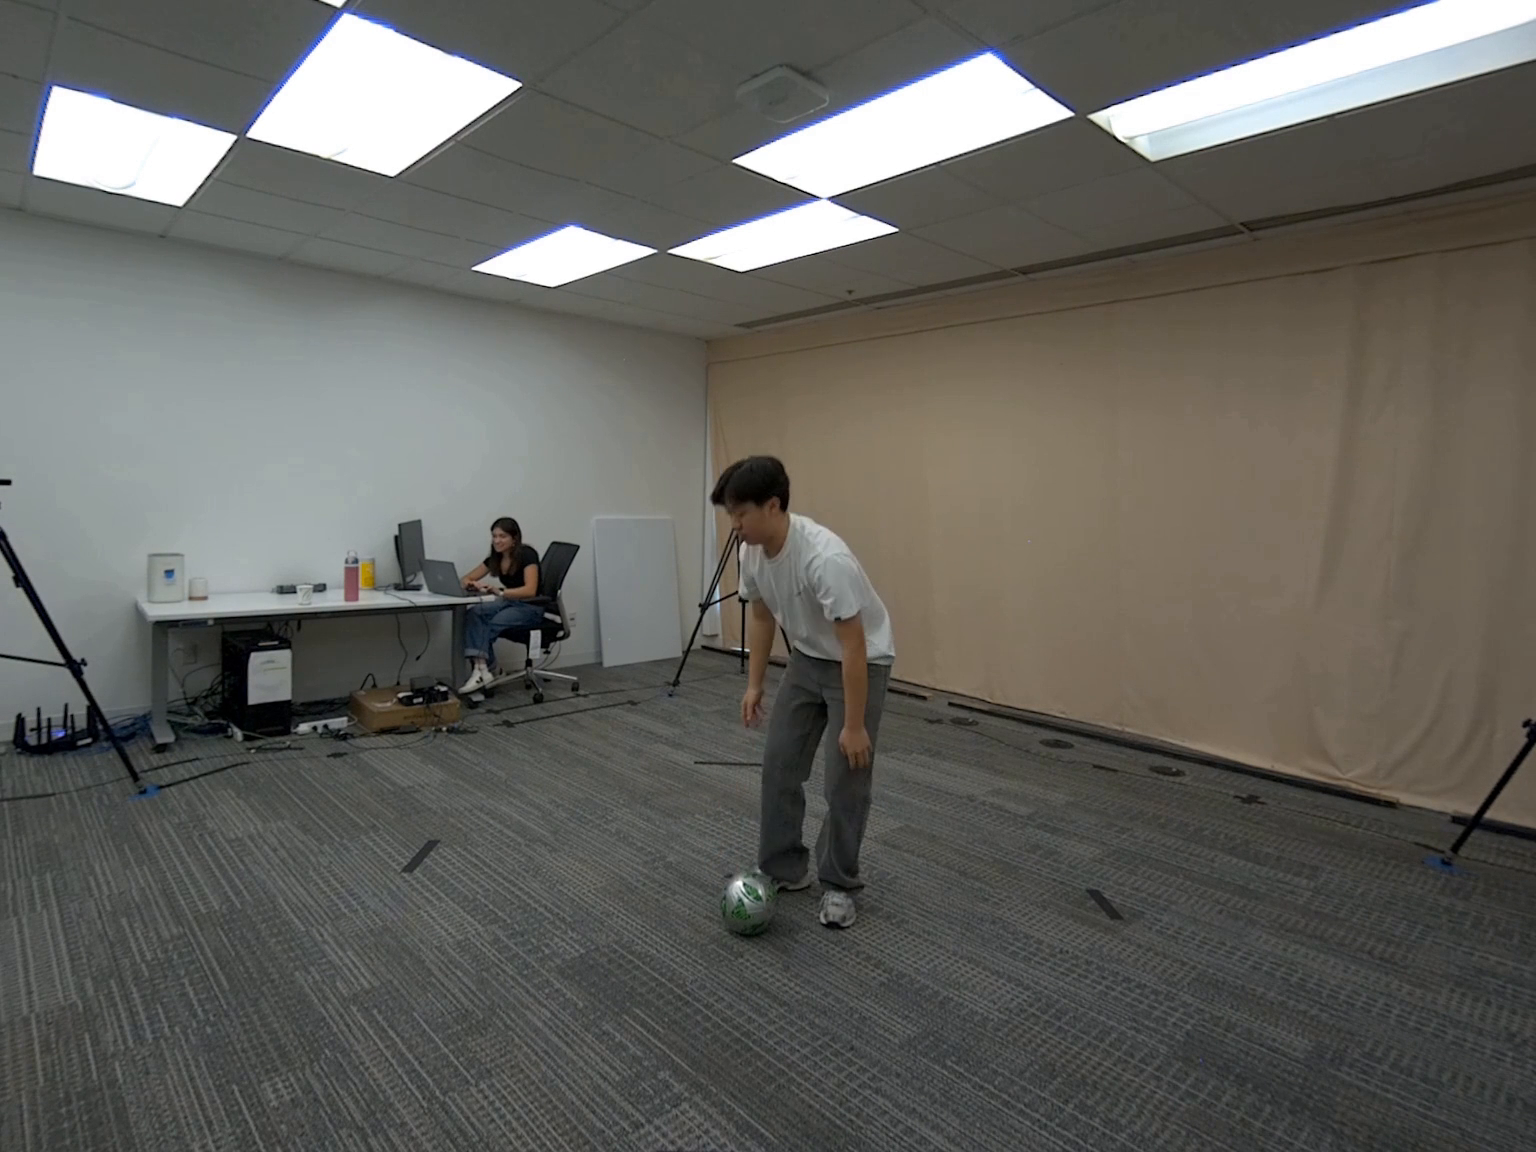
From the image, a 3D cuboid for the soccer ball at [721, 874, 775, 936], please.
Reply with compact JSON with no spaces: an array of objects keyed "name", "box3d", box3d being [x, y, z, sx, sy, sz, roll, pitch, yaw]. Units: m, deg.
[{"name":"soccer ball","box3d":[-0.074,1.058,2.701,0.187,0.187,0.188,1,4,-1]}]
